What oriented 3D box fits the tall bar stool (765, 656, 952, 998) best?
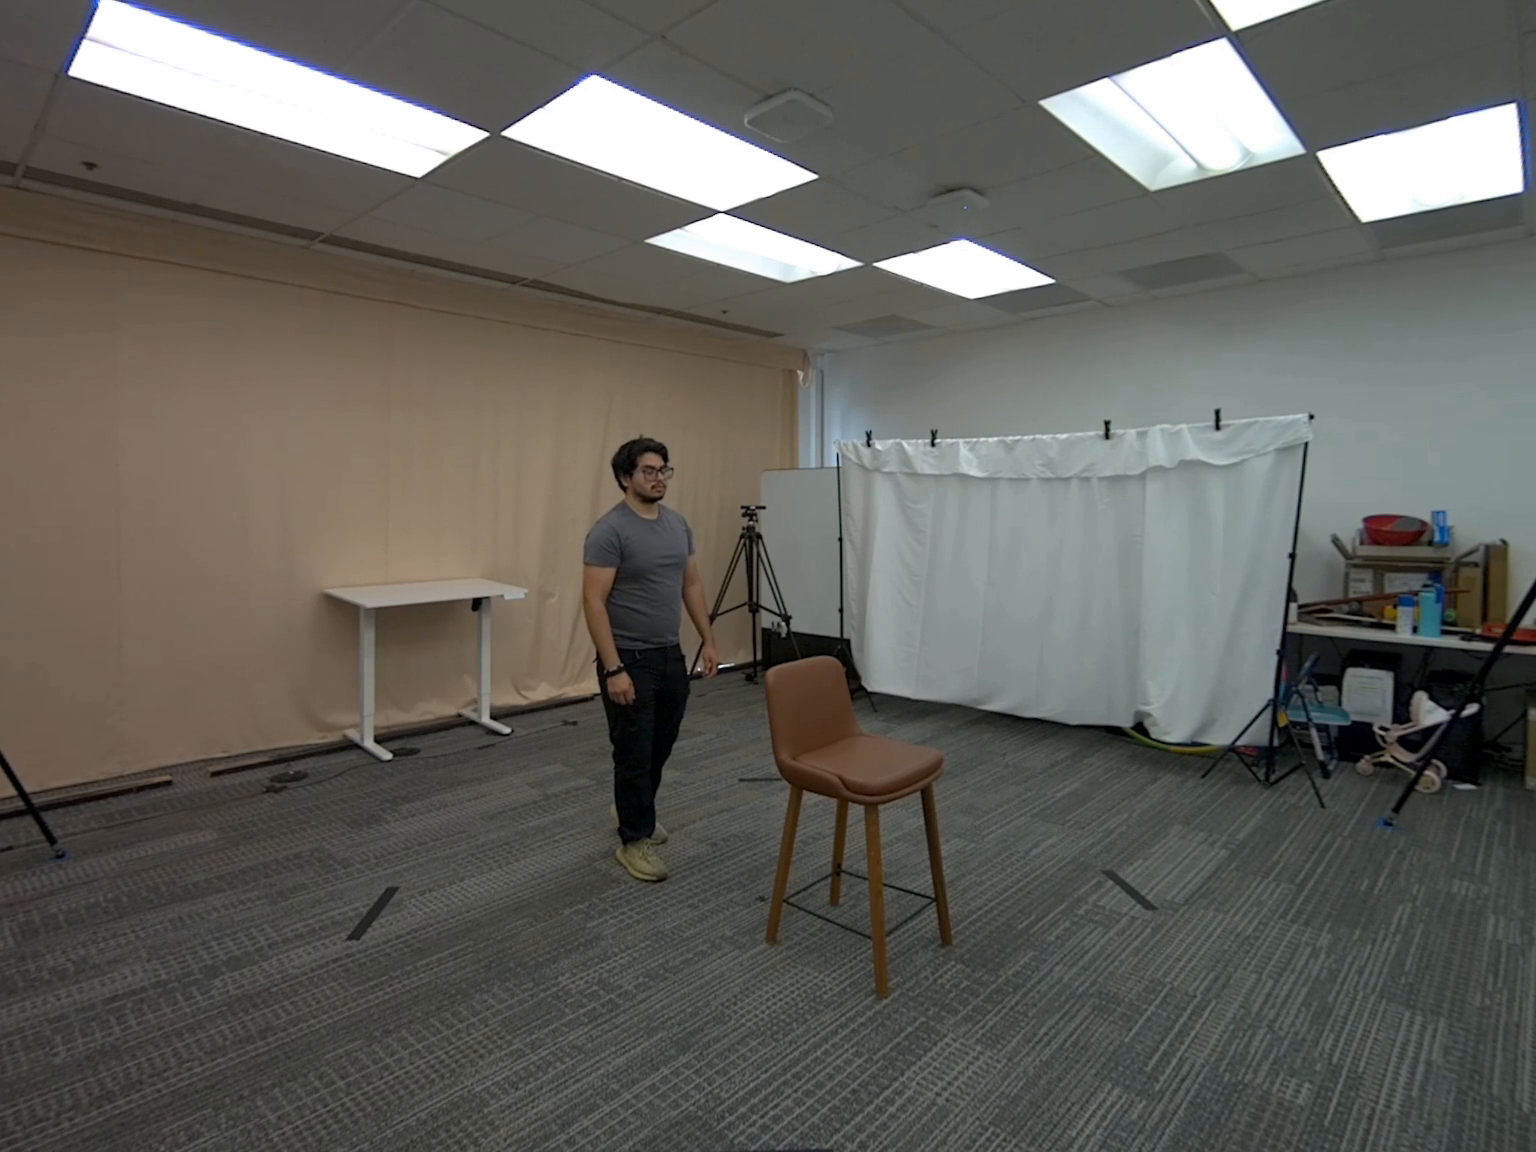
[{"bbox_3d":[0.281,0.735,2.655,0.483,0.888,0.442,0,3,42],"label":"tall bar stool"}]
